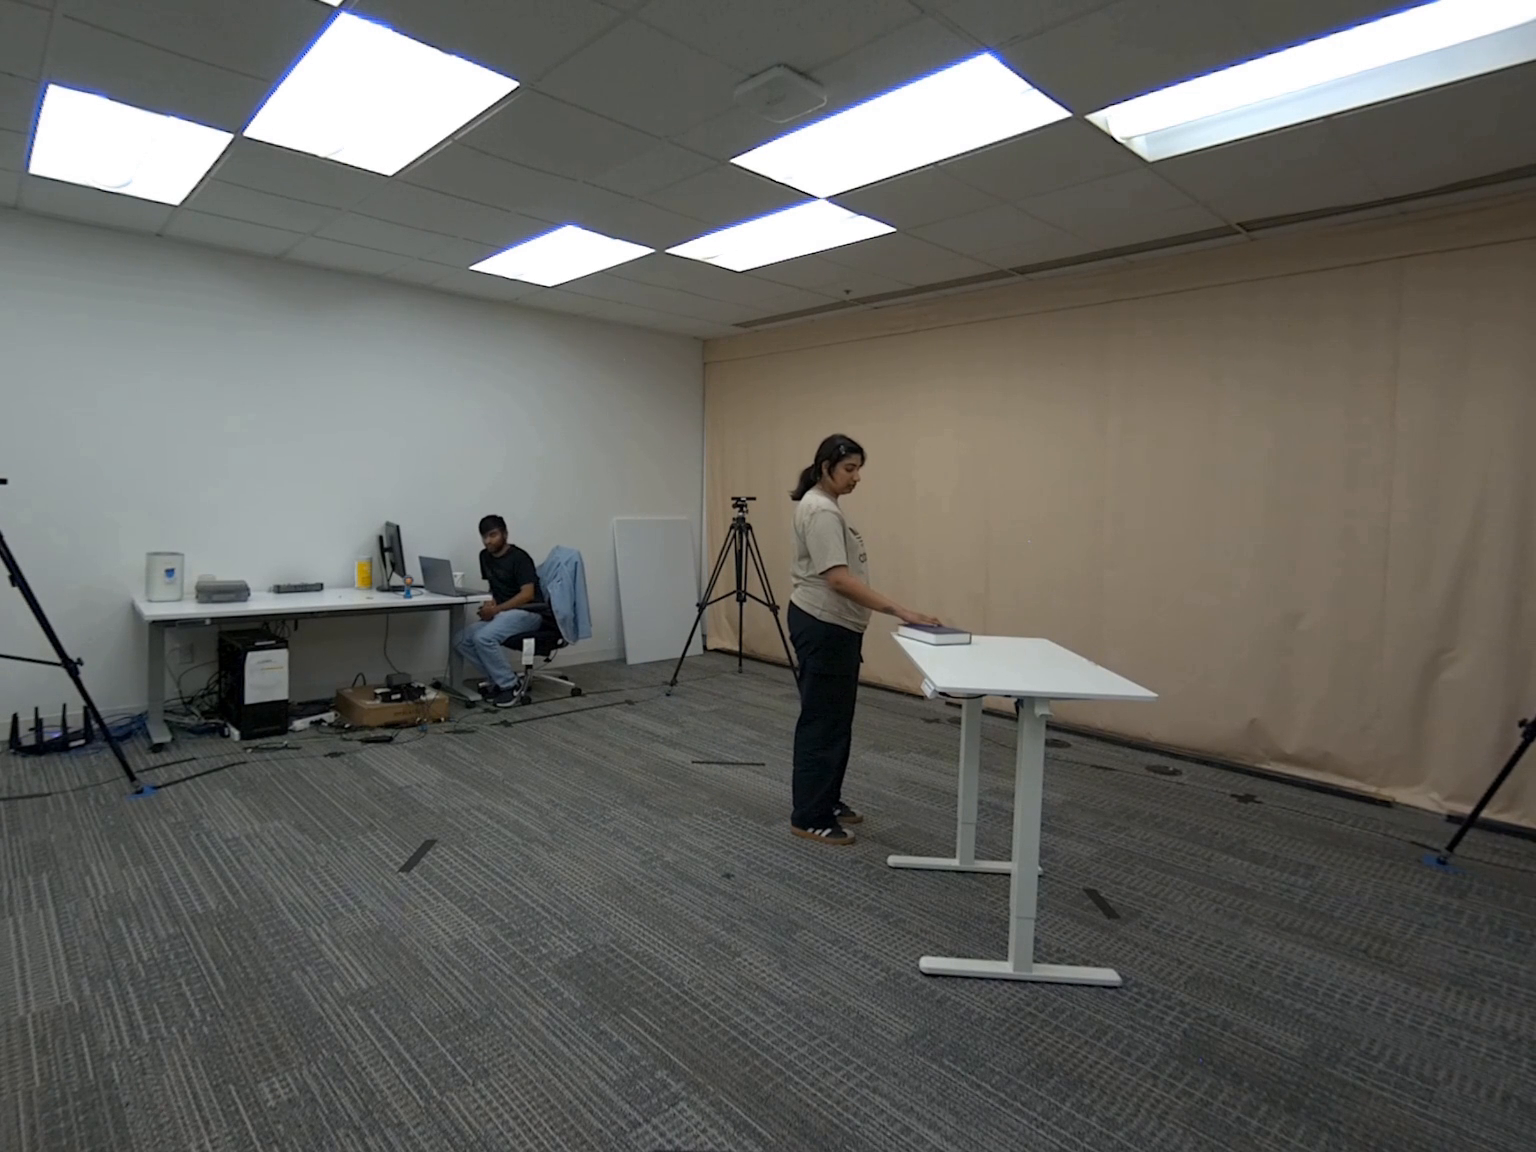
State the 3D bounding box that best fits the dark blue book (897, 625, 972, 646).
[{"bbox_3d":[0.616,0.220,3.171,0.161,0.045,0.250,0,4,-23],"label":"dark blue book"}]
